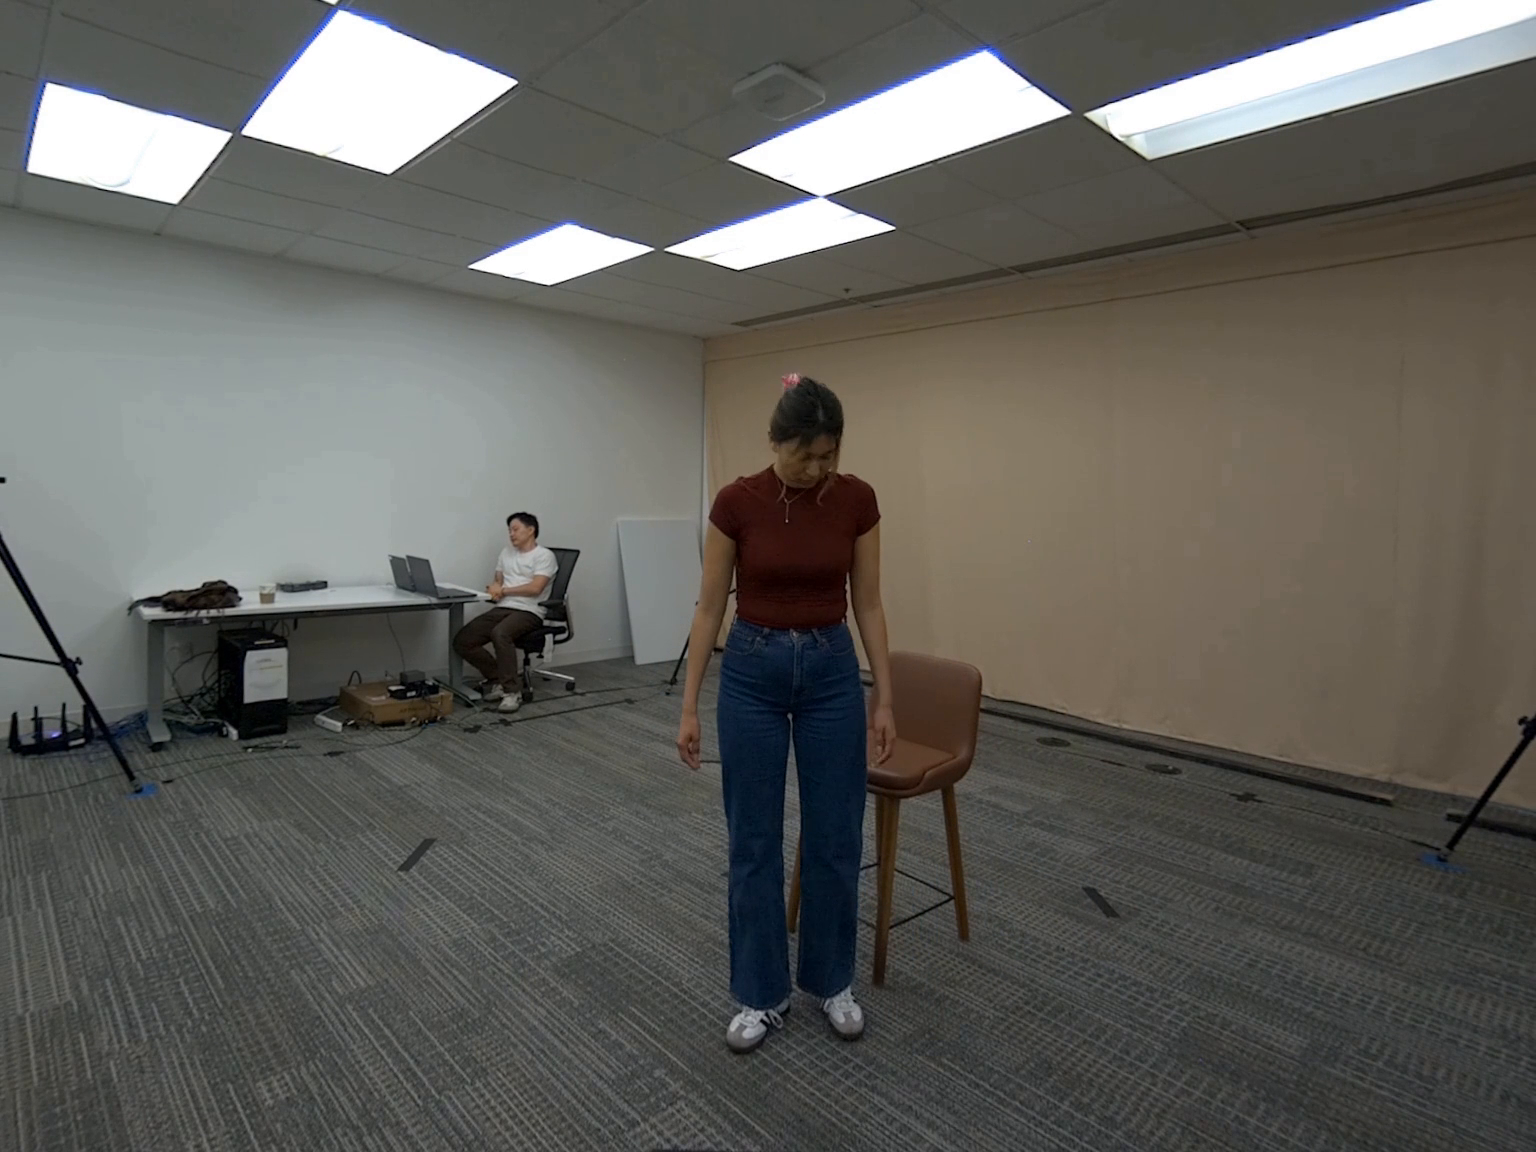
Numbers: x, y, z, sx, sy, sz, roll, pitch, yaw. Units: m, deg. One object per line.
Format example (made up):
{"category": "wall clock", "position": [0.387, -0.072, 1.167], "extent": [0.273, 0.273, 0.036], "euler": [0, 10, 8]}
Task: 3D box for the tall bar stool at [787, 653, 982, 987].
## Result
{"category": "tall bar stool", "position": [0.373, 0.720, 2.671], "extent": [0.457, 0.888, 0.468], "euler": [1, 4, -39]}
